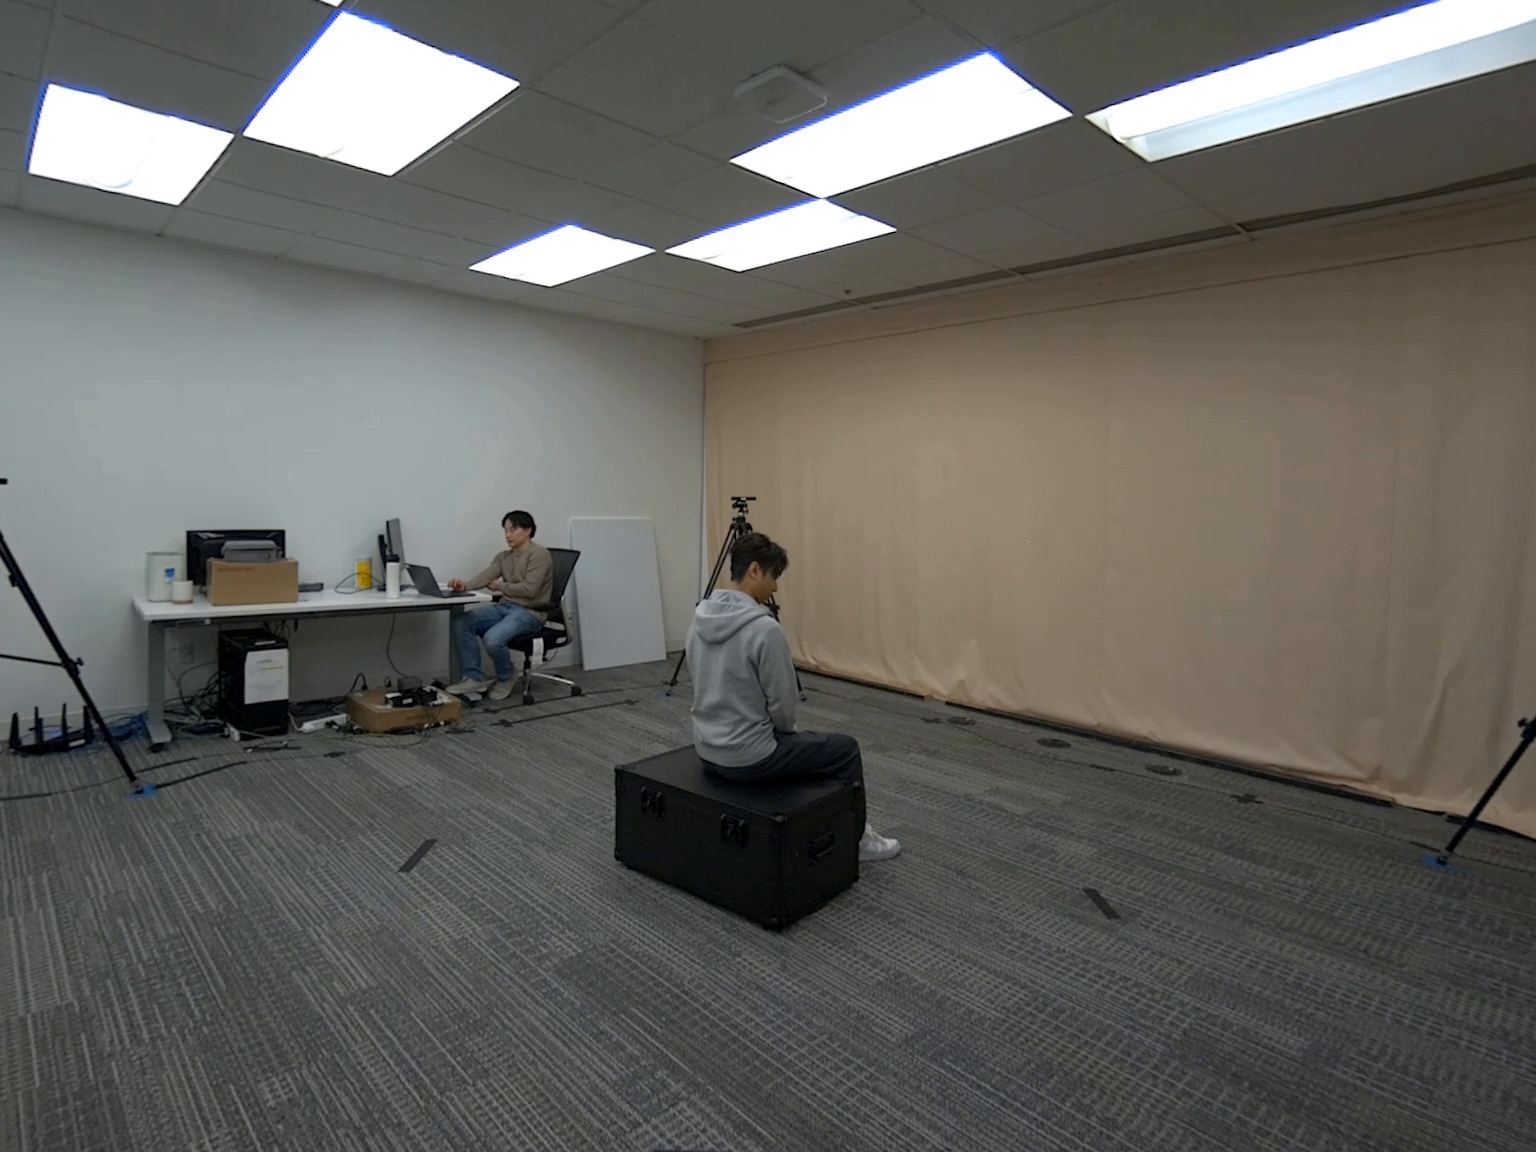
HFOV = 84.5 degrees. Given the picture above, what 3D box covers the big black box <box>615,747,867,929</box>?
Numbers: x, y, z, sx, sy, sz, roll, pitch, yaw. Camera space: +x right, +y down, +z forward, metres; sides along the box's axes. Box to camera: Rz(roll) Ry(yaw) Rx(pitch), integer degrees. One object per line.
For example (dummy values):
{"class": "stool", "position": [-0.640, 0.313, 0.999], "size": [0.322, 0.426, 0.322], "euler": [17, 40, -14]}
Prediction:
{"class": "big black box", "position": [-0.112, 0.928, 3.069], "size": [0.883, 0.395, 0.510], "euler": [5, 6, 40]}
